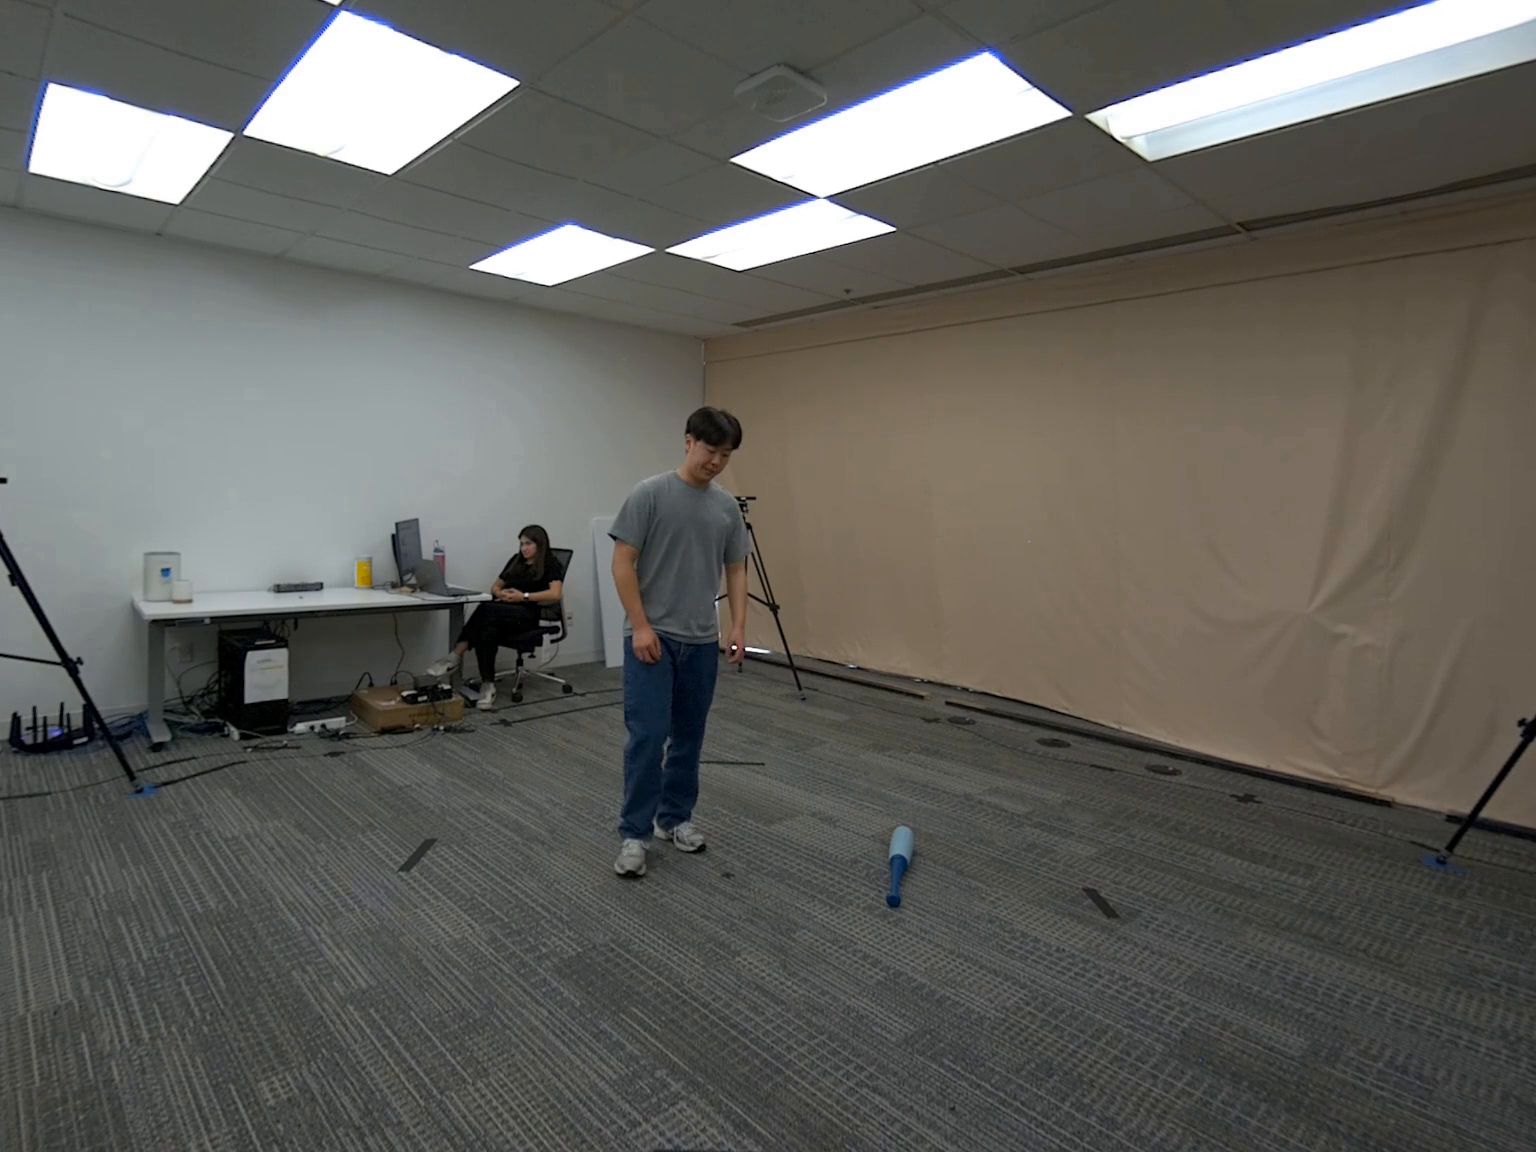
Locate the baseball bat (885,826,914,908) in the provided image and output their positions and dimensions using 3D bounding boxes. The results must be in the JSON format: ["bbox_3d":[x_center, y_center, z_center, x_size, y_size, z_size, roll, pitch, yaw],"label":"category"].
[{"bbox_3d":[0.482,1.080,3.138,0.090,0.088,0.539,2,7,12],"label":"baseball bat"}]
